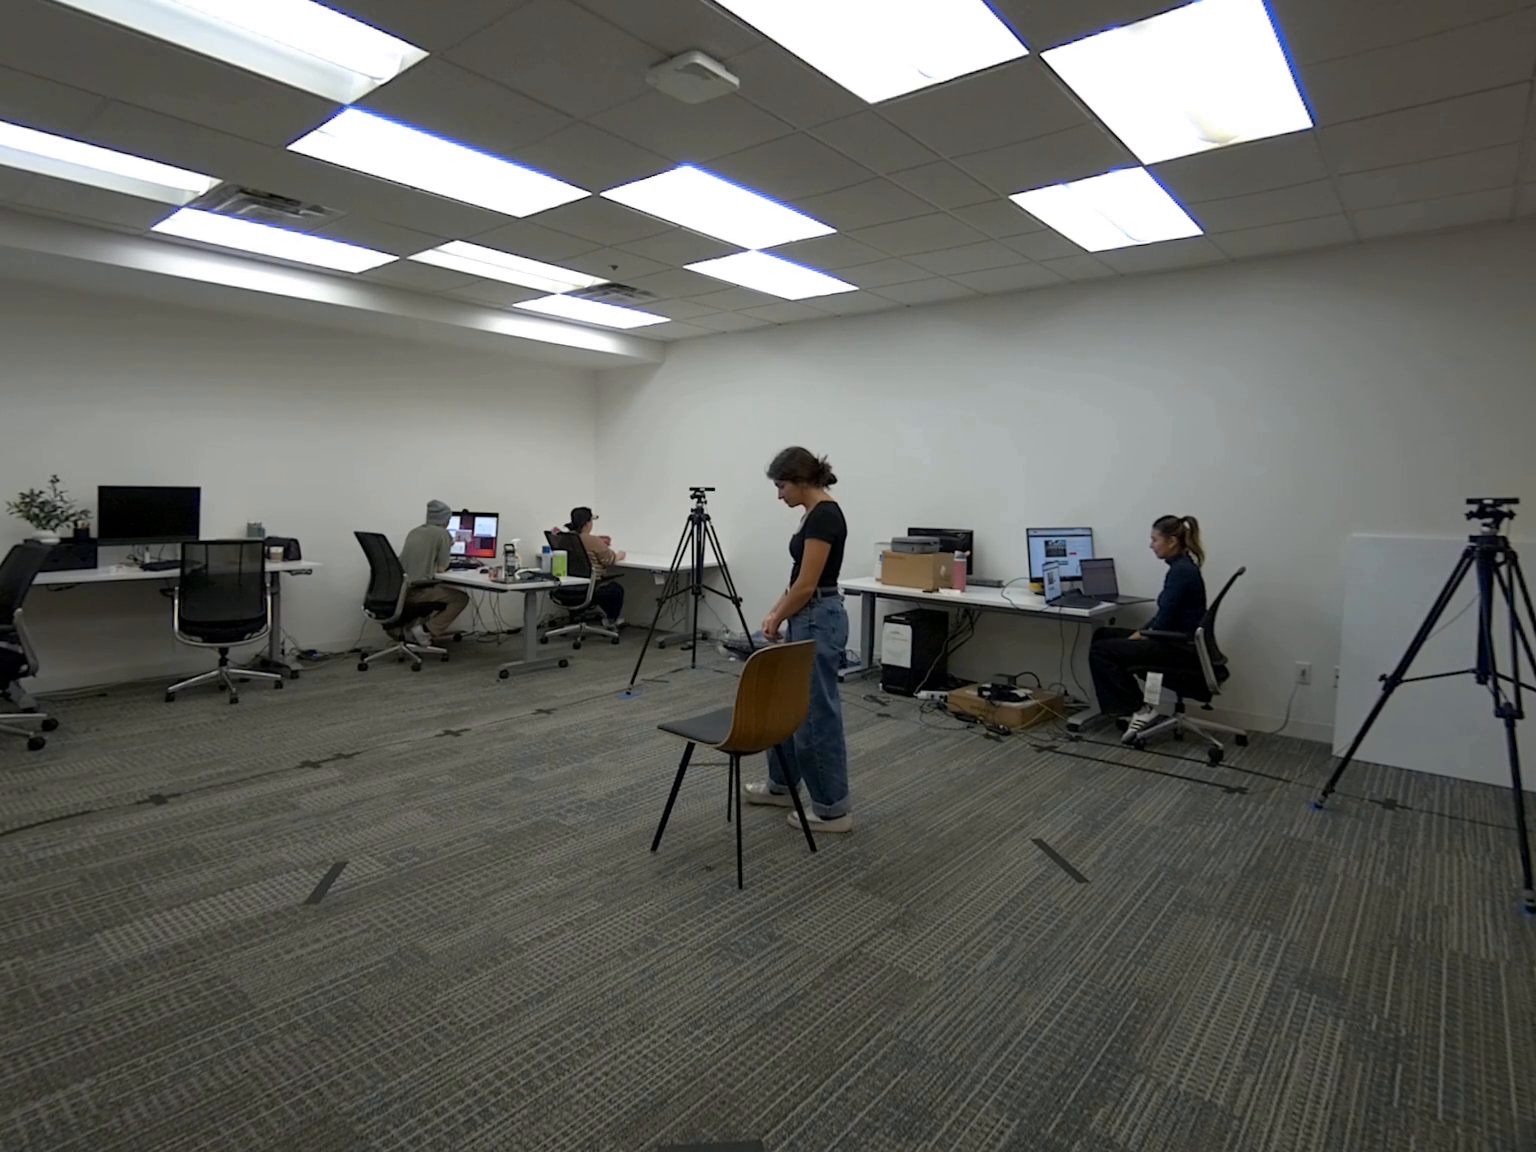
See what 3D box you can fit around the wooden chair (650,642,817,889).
[{"bbox_3d":[-0.138,0.630,3.236,0.542,0.873,0.464,9,7,40],"label":"wooden chair"}]
